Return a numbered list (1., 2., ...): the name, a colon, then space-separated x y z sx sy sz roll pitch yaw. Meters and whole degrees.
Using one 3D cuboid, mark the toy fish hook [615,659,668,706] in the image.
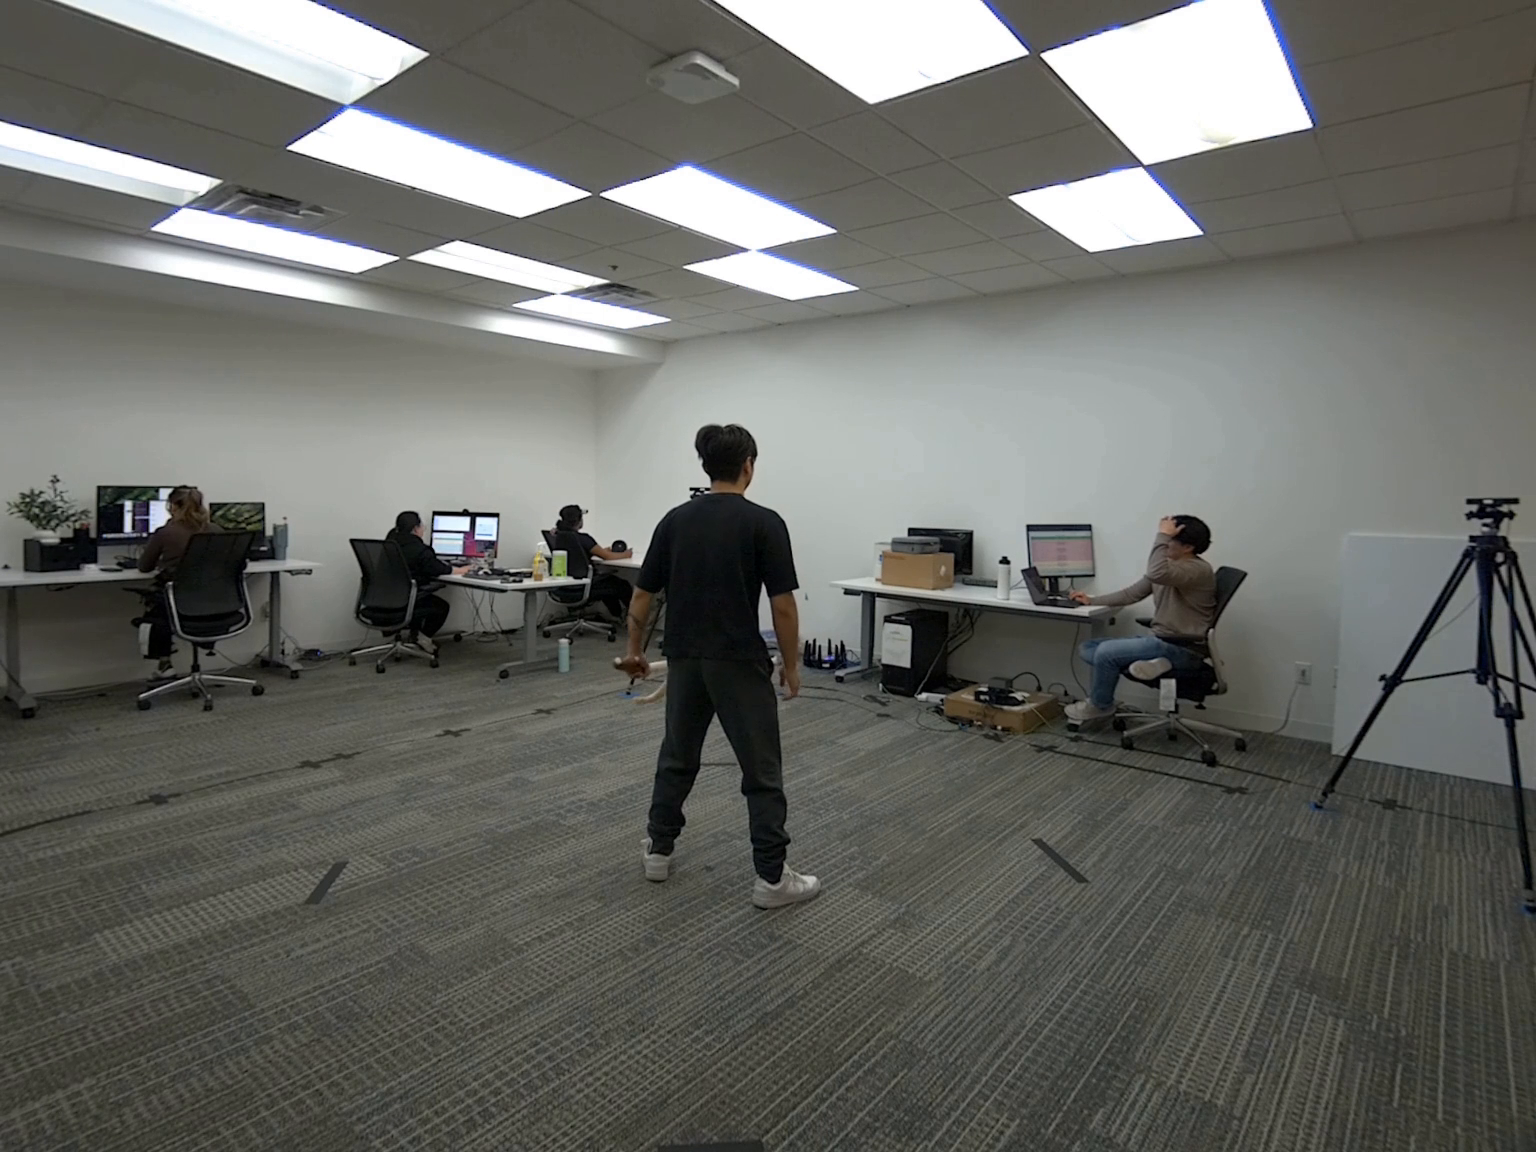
1. toy fish hook: -0.468 0.367 3.208 0.050 0.224 0.489 38 5 26
